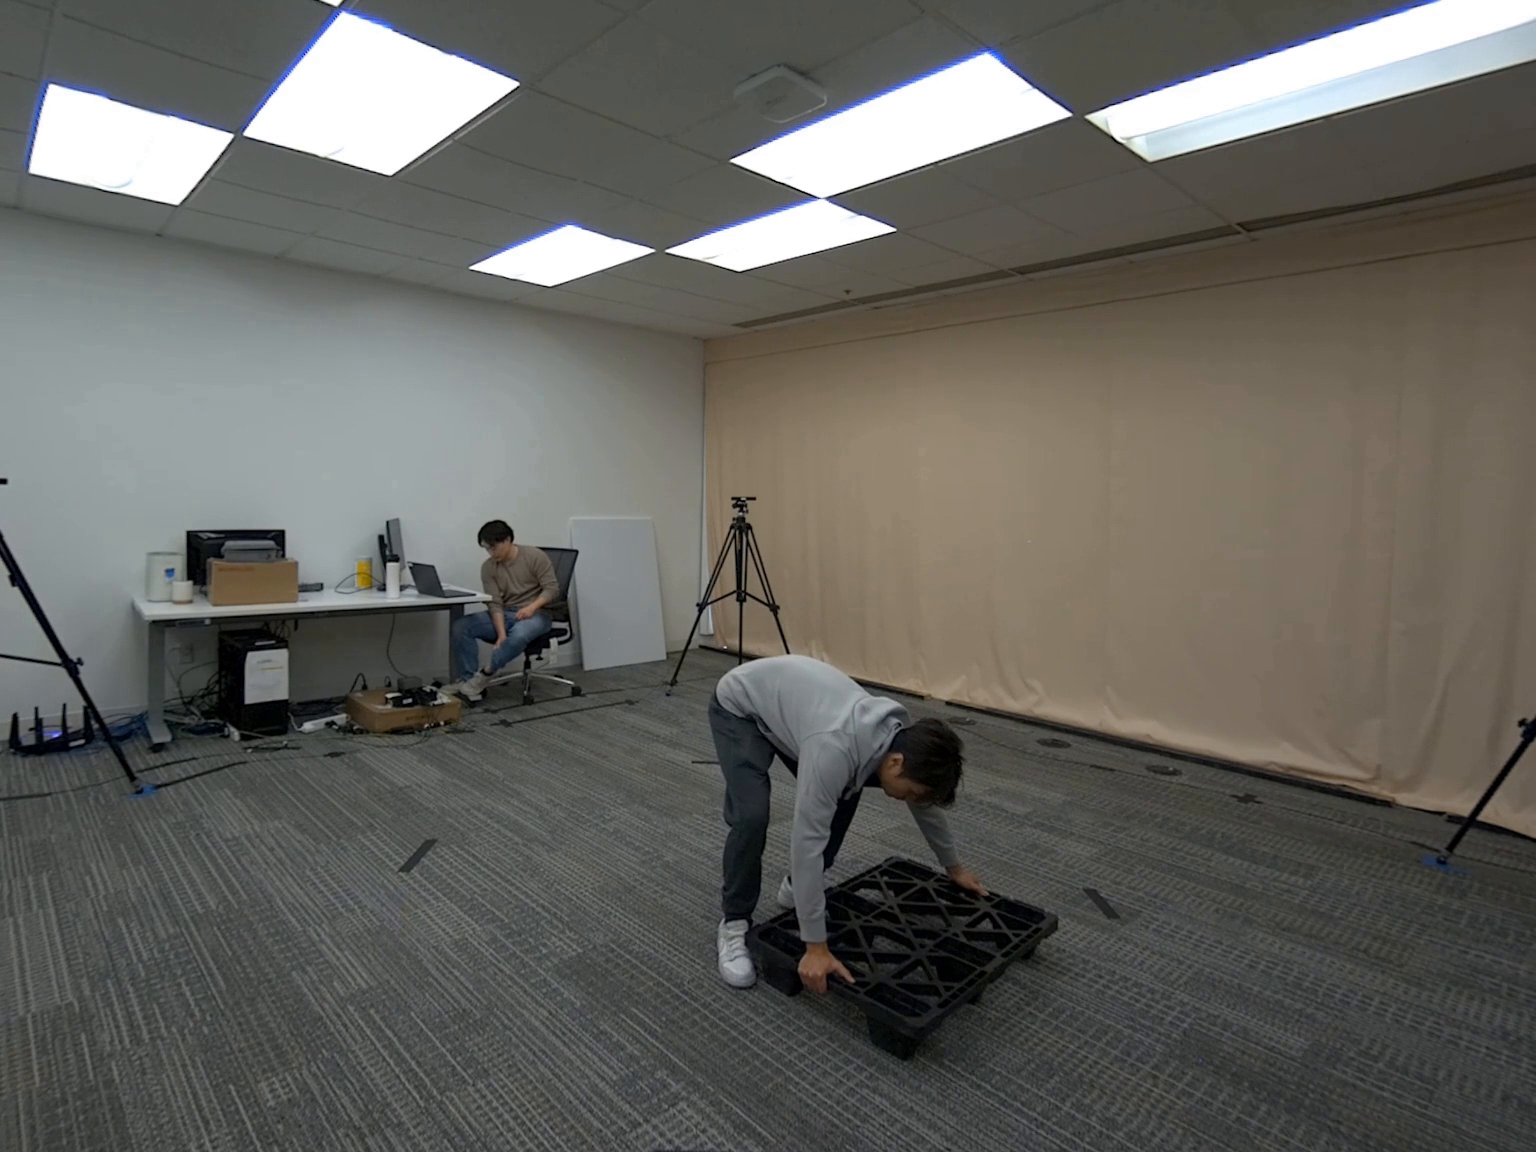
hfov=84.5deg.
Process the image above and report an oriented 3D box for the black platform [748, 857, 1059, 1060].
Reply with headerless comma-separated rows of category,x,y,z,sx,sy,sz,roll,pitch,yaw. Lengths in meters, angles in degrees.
black platform,0.402,1.106,2.518,0.620,0.143,0.787,6,7,42
